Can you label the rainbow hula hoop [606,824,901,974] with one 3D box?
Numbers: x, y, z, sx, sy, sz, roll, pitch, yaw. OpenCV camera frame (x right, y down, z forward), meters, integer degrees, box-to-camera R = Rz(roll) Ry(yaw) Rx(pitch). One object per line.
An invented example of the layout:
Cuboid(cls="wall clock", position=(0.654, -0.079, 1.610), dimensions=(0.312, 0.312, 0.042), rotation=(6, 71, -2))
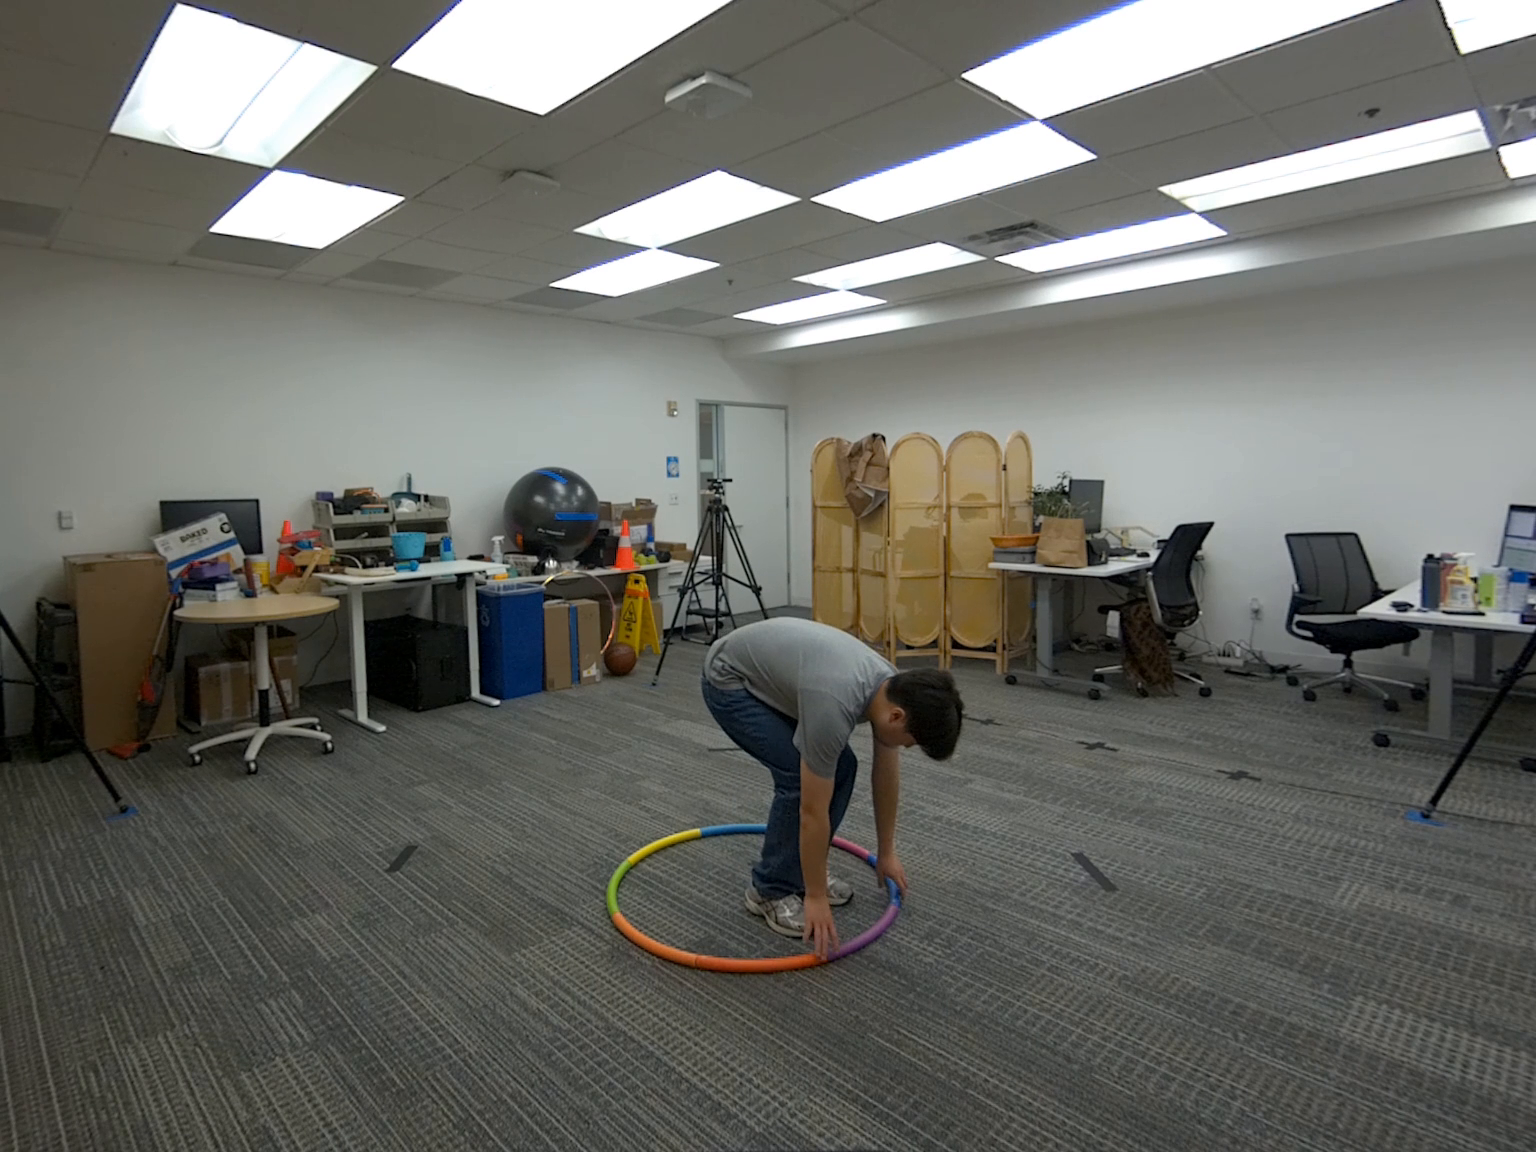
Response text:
Cuboid(cls="rainbow hula hoop", position=(-0.051, 1.038, 2.898), dimensions=(0.978, 0.035, 0.984), rotation=(-1, 7, -2))
